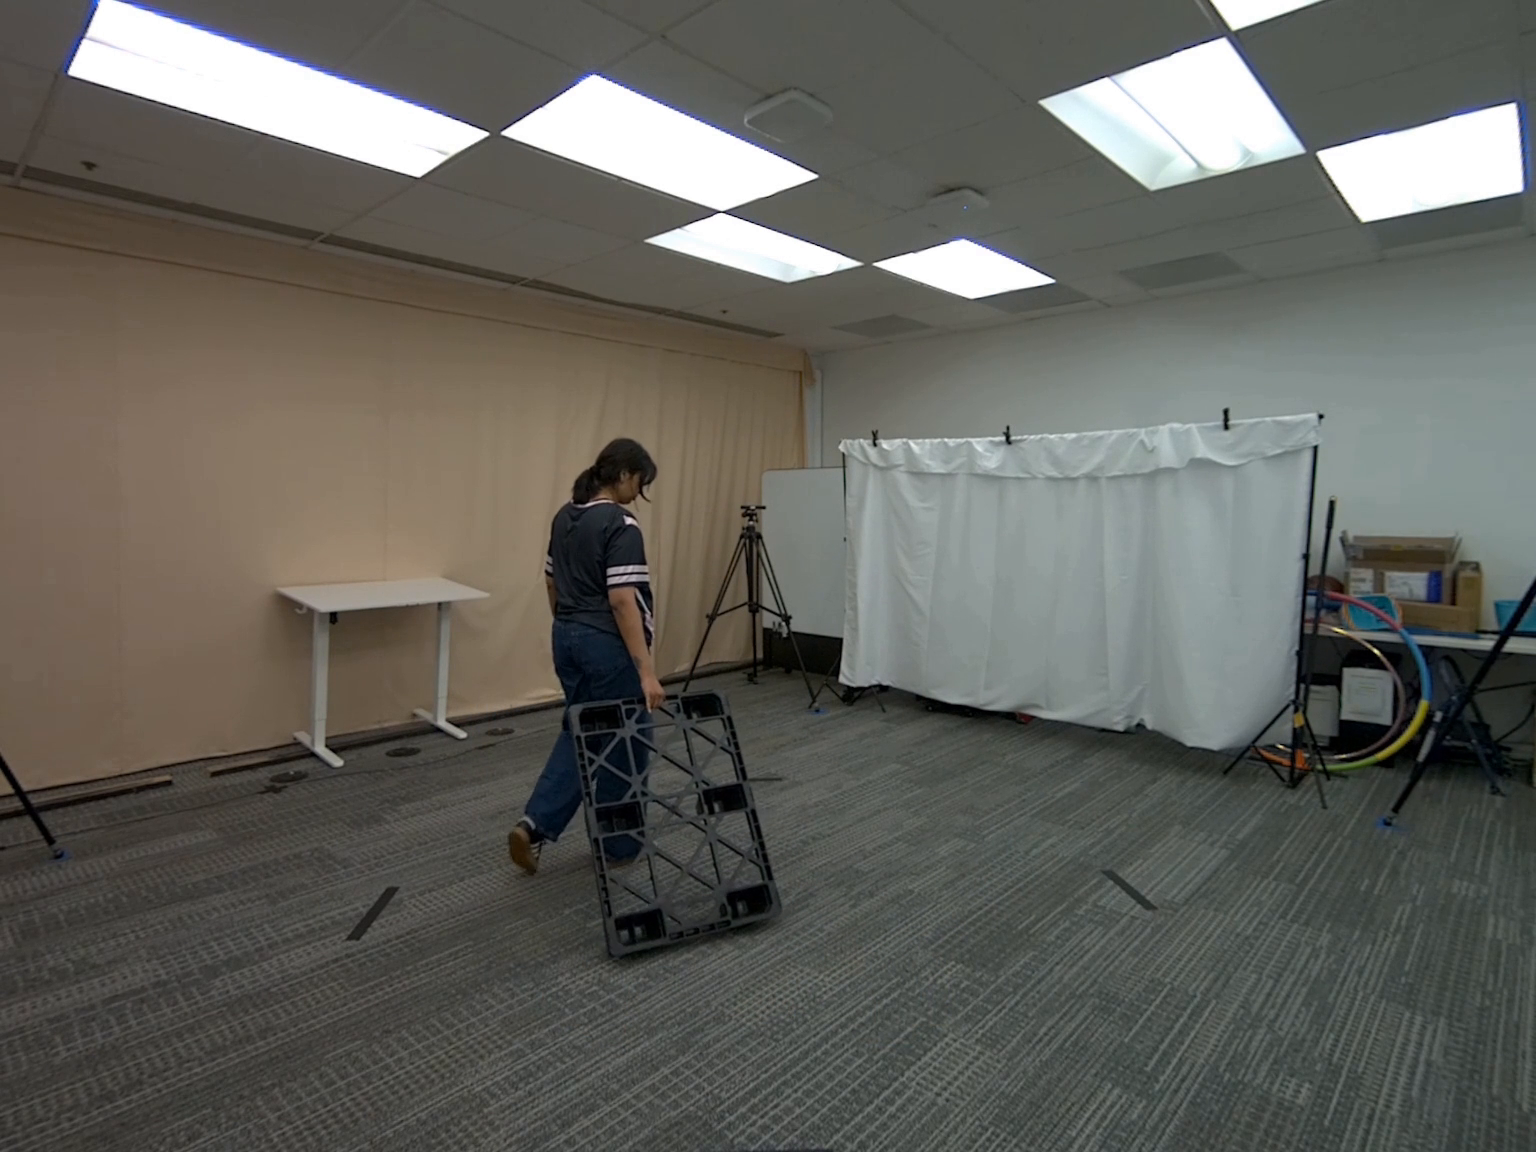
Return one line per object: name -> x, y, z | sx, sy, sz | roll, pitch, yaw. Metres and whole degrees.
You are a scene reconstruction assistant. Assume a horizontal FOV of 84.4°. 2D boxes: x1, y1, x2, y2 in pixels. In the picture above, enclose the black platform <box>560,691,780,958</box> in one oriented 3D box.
black platform -> -0.338, 0.812, 2.872 | 0.590, 0.822, 0.144 | -3, -28, -26
